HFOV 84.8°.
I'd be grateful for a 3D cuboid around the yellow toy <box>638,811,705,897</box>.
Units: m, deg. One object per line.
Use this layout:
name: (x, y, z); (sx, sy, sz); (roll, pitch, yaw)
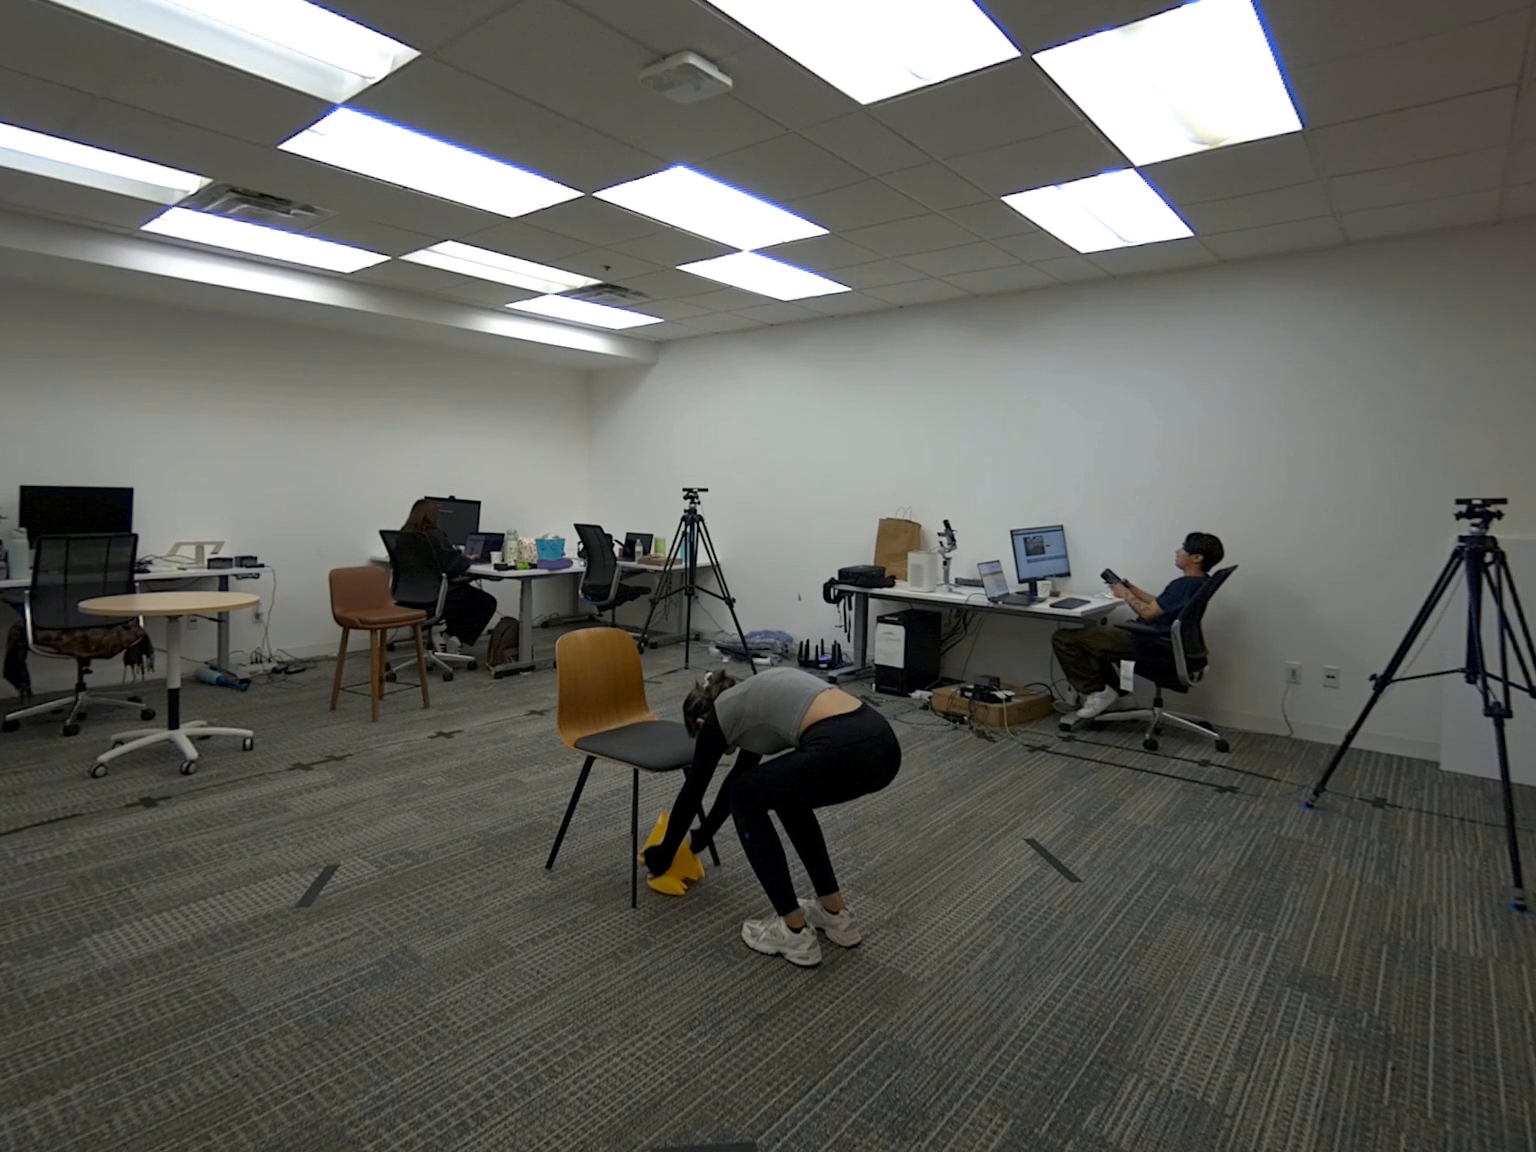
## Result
yellow toy: (-0.330, 0.946, 2.970); (0.199, 0.228, 0.200); (12, 14, 28)
